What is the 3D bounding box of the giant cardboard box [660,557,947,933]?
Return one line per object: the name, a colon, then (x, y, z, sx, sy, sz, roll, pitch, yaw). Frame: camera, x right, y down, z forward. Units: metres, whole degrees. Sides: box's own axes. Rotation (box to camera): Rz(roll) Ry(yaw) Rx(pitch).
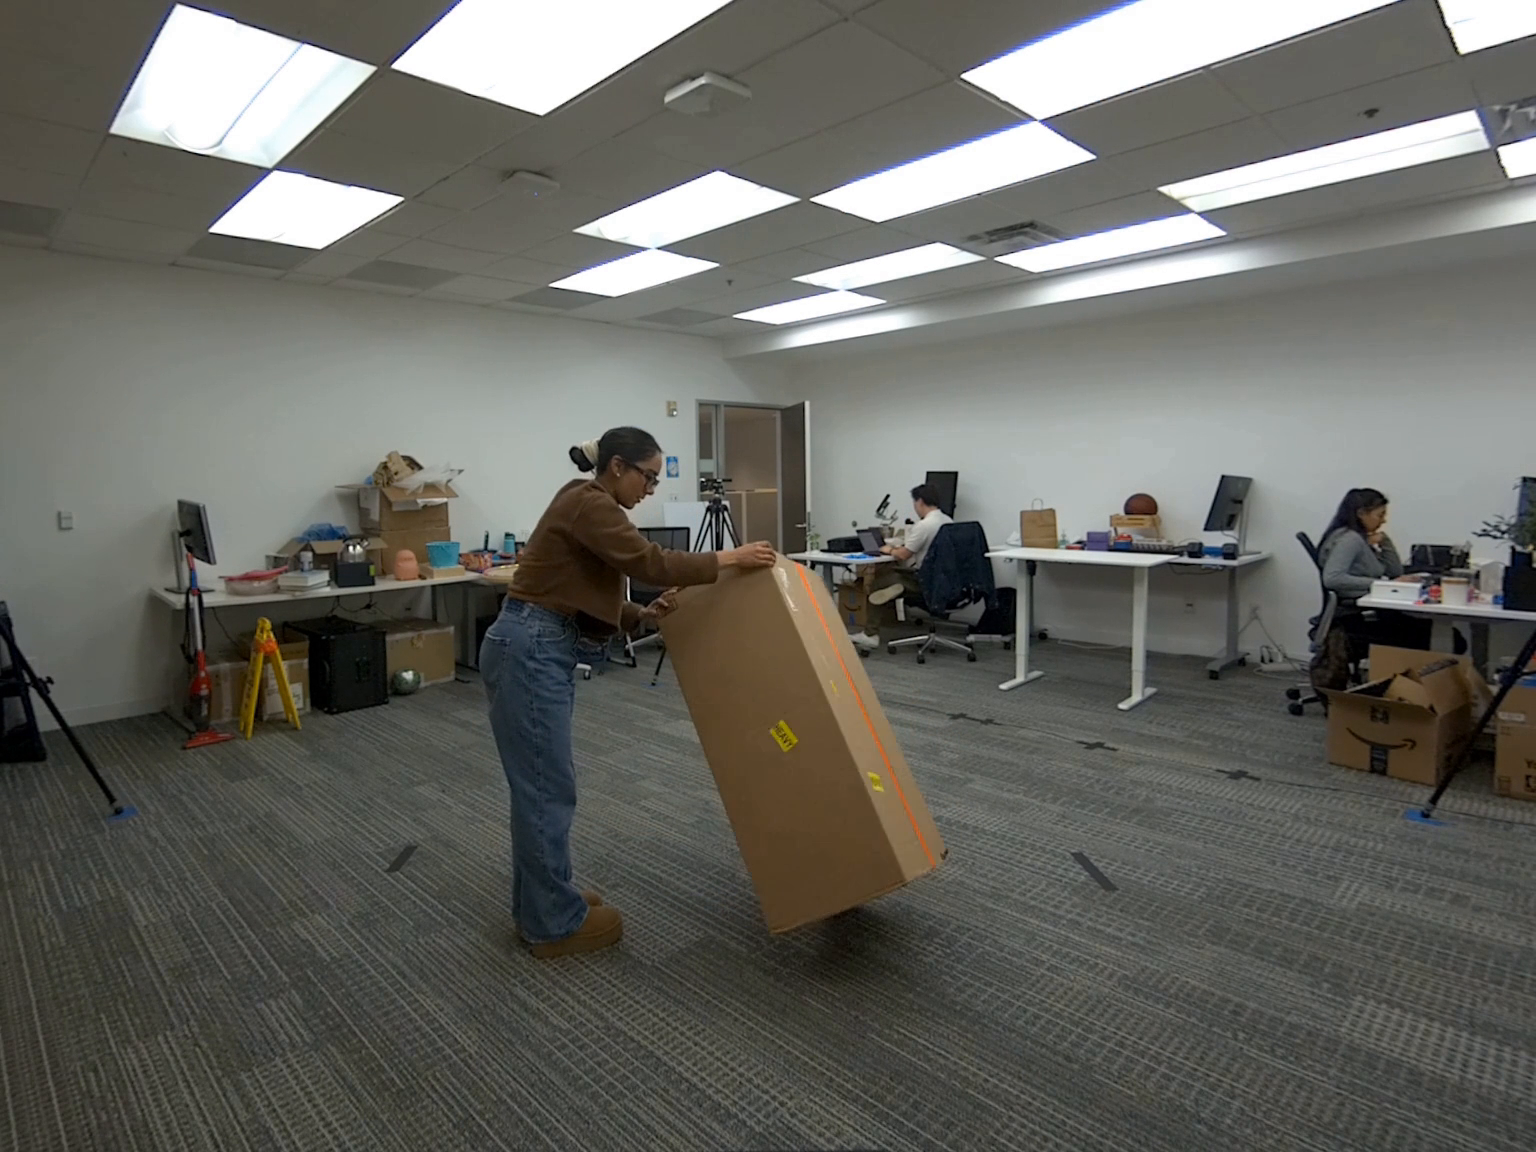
giant cardboard box: (0.109, 0.501, 2.720, 0.449, 1.053, 0.566, -30, -22, 15)
